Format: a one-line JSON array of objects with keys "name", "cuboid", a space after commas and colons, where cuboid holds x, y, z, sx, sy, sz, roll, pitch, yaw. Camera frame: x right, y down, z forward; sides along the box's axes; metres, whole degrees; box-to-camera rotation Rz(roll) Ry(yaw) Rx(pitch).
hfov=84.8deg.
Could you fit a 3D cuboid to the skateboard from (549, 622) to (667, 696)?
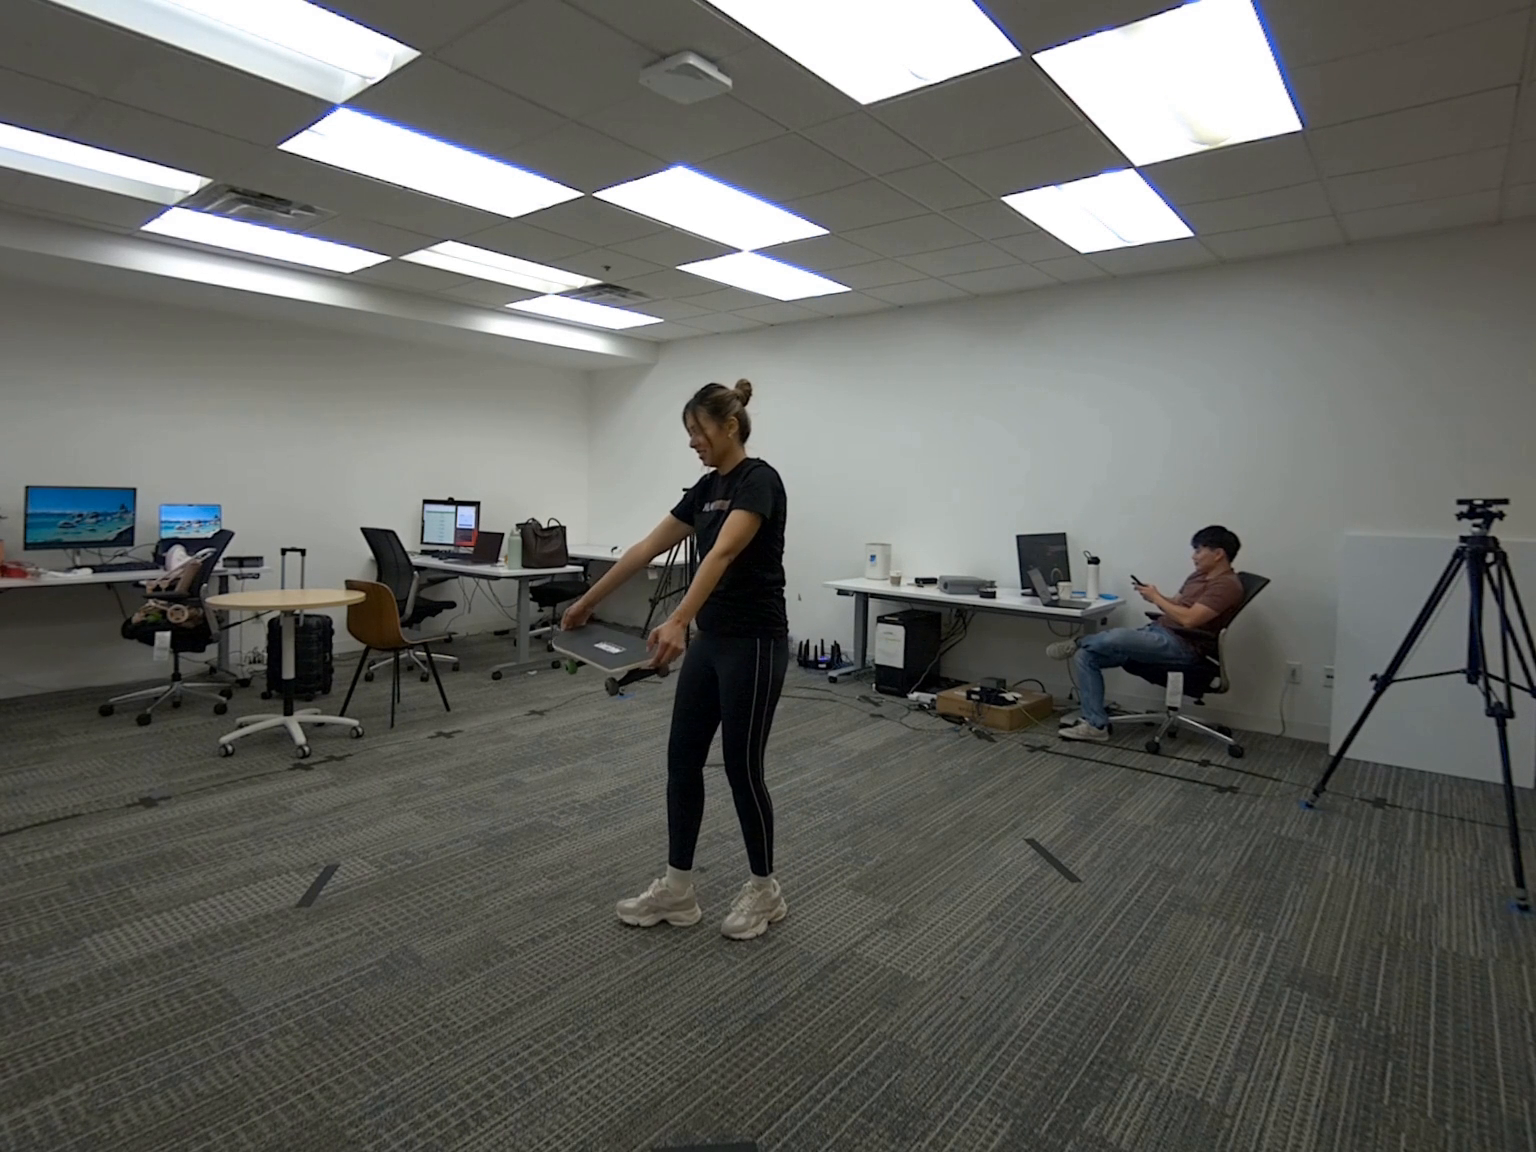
[{"name": "skateboard", "cuboid": [-0.477, 0.249, 2.518, 0.190, 0.109, 0.807, -17, 10, -29]}]
